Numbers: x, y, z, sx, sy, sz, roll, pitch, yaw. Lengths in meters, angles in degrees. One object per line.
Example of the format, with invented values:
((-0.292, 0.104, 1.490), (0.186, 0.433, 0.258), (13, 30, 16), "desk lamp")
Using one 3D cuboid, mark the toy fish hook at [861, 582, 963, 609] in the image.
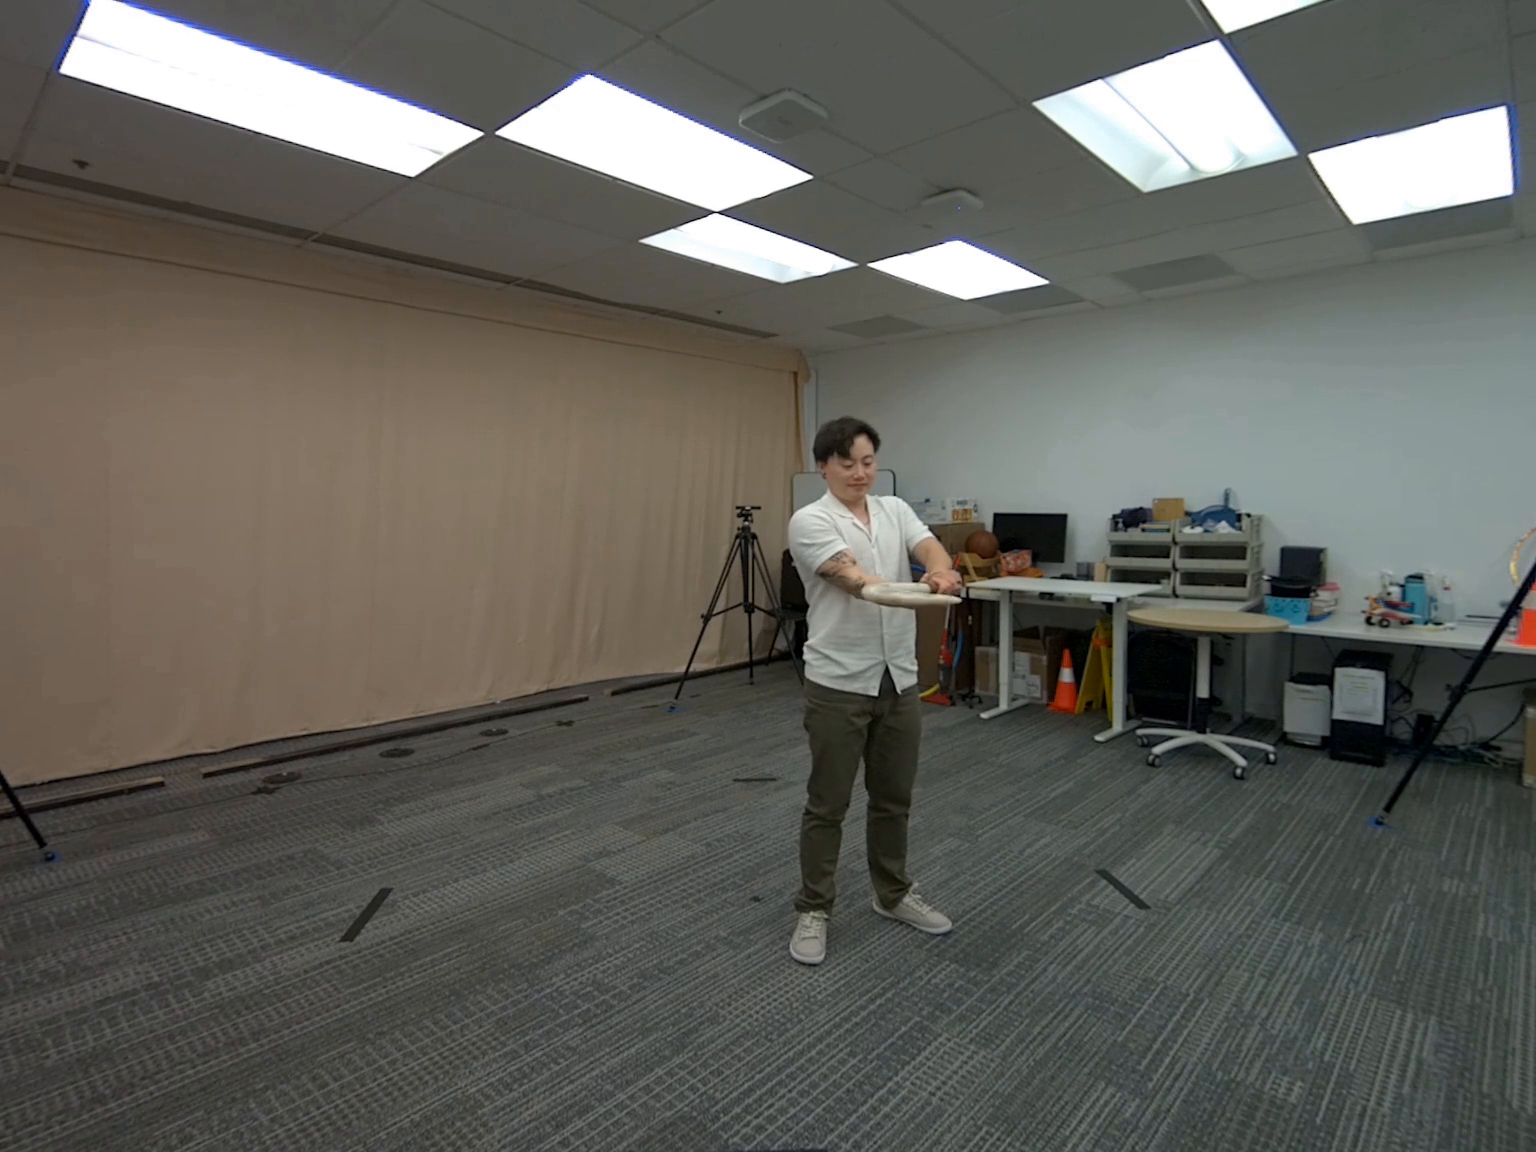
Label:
((0.453, 0.049, 2.168), (0.232, 0.048, 0.491), (12, 9, 35), "toy fish hook")
